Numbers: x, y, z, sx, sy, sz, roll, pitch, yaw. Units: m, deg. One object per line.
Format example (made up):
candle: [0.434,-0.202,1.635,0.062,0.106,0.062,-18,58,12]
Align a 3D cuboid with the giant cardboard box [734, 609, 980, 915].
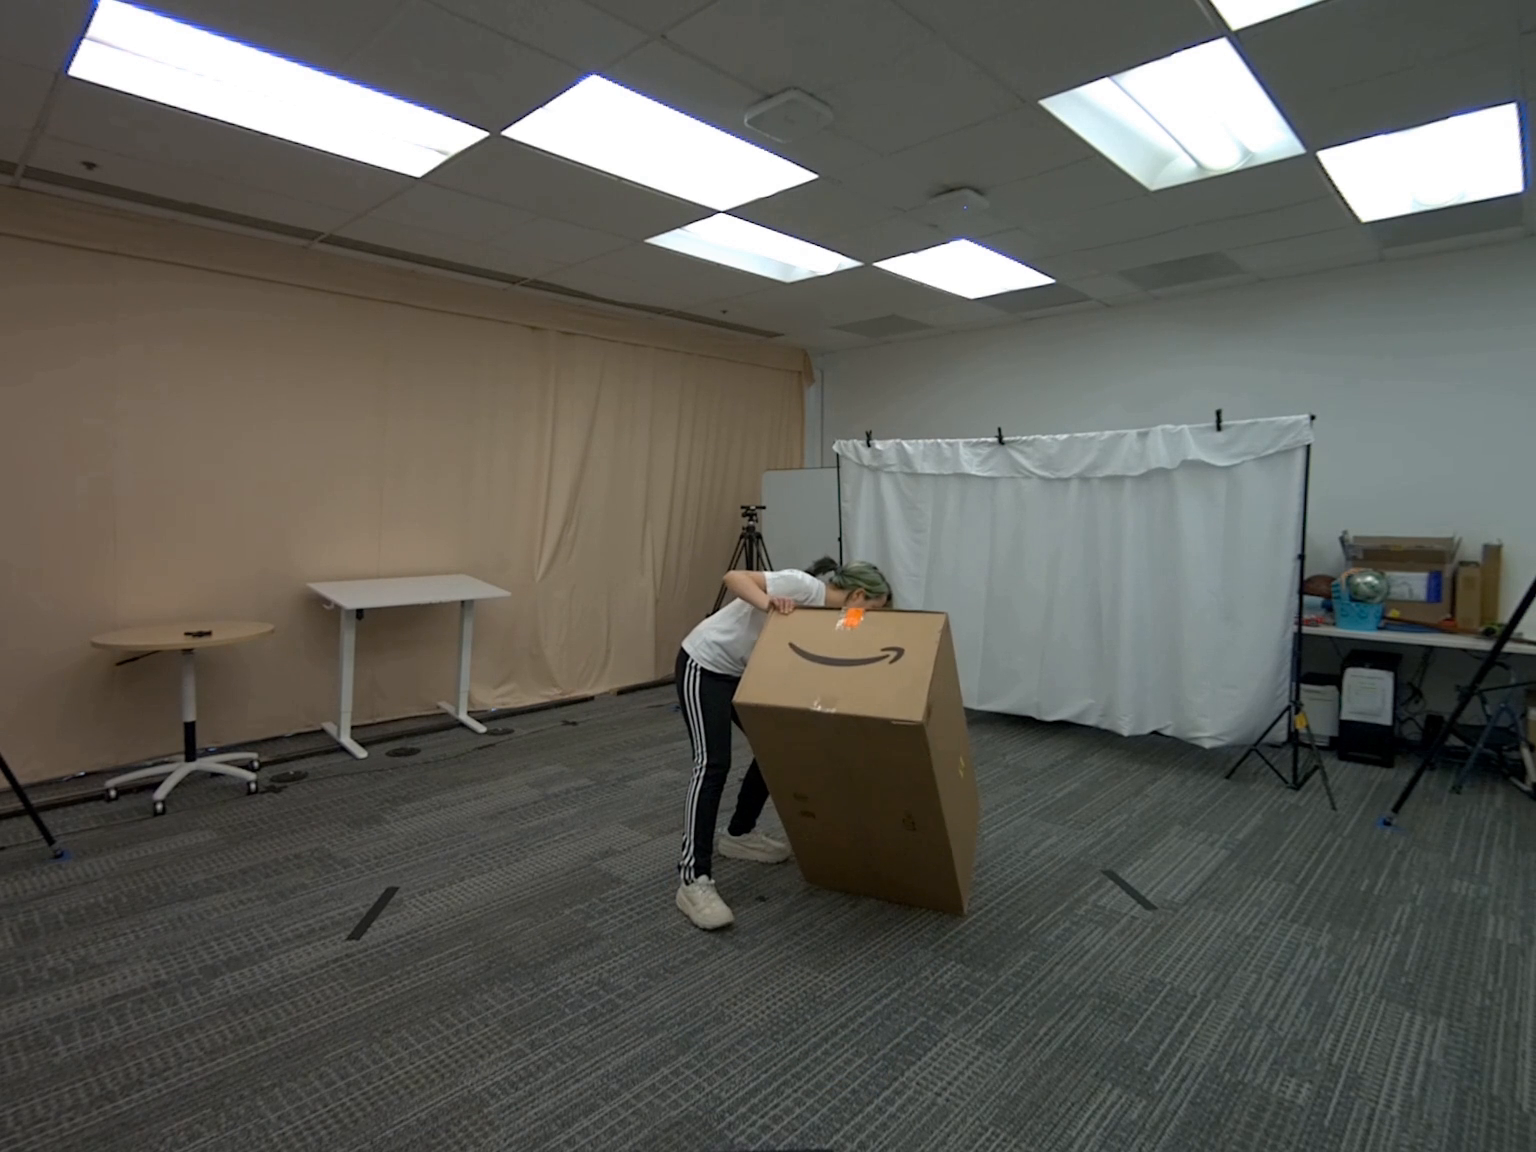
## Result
giant cardboard box: [0.349,0.625,2.822,0.592,0.998,0.427,1,41,24]
